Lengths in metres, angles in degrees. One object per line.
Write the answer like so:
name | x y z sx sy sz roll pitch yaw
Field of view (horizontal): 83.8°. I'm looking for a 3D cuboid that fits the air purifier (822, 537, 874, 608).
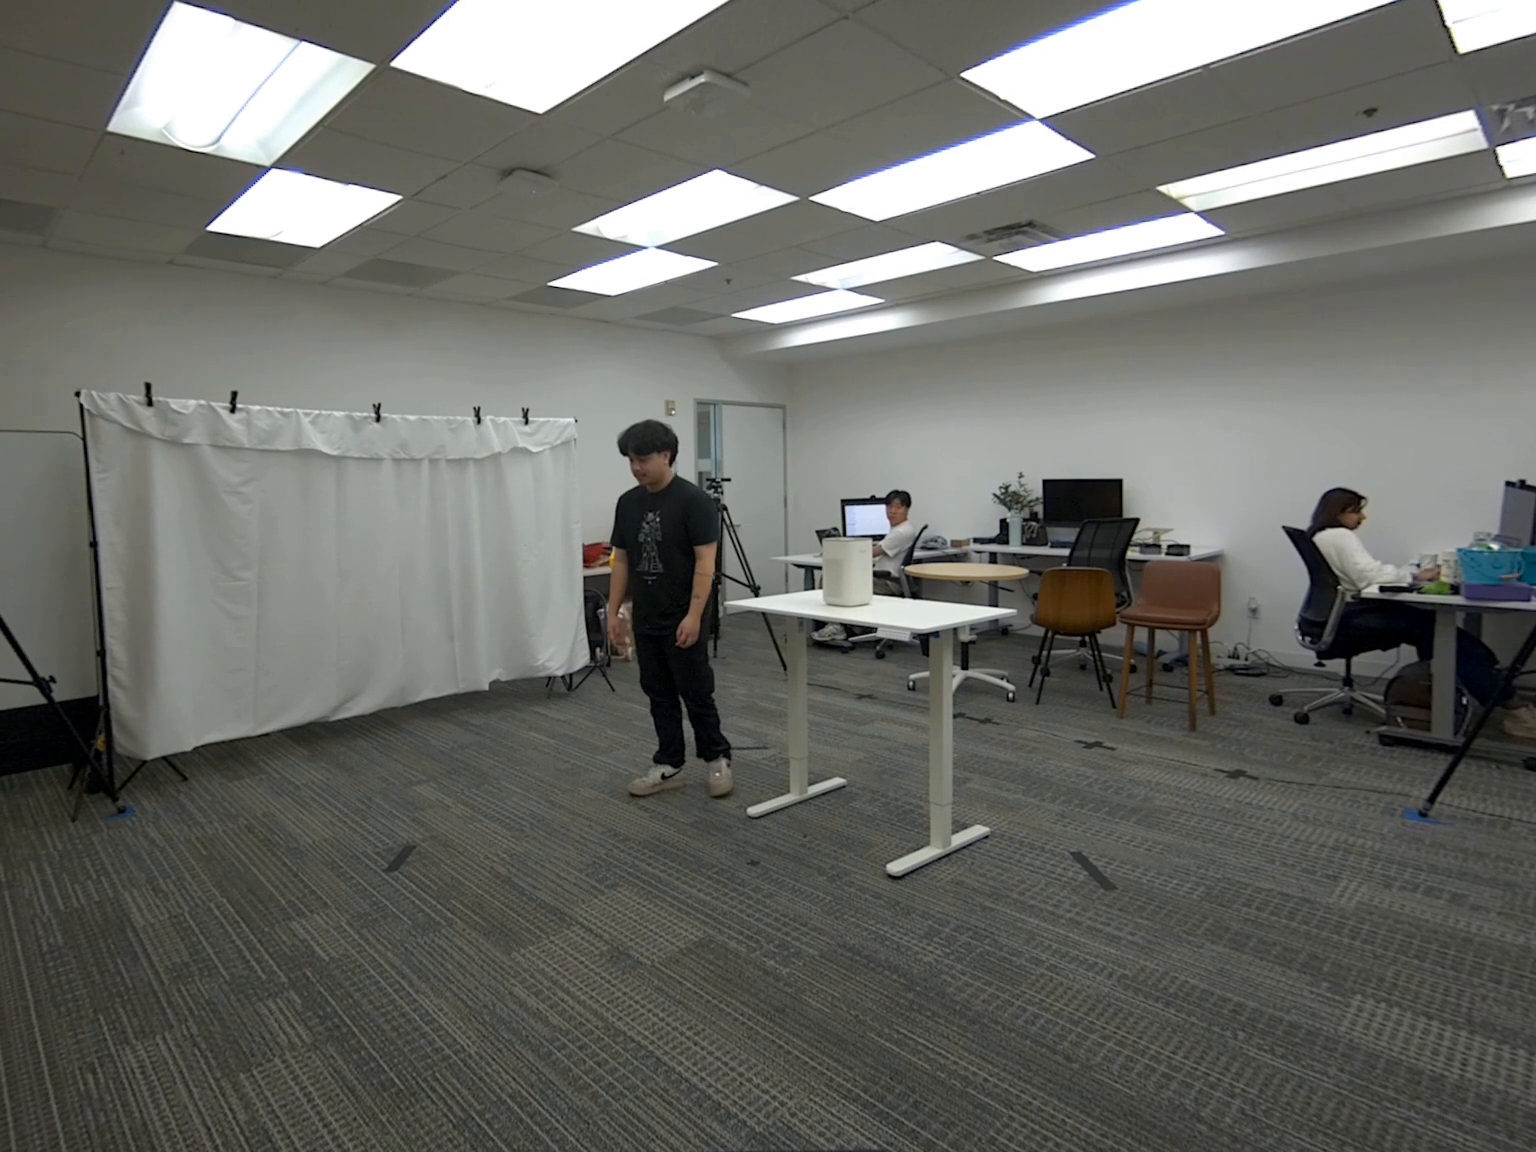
air purifier | 0.320 -0.020 3.437 0.166 0.264 0.177 -4 5 -43
